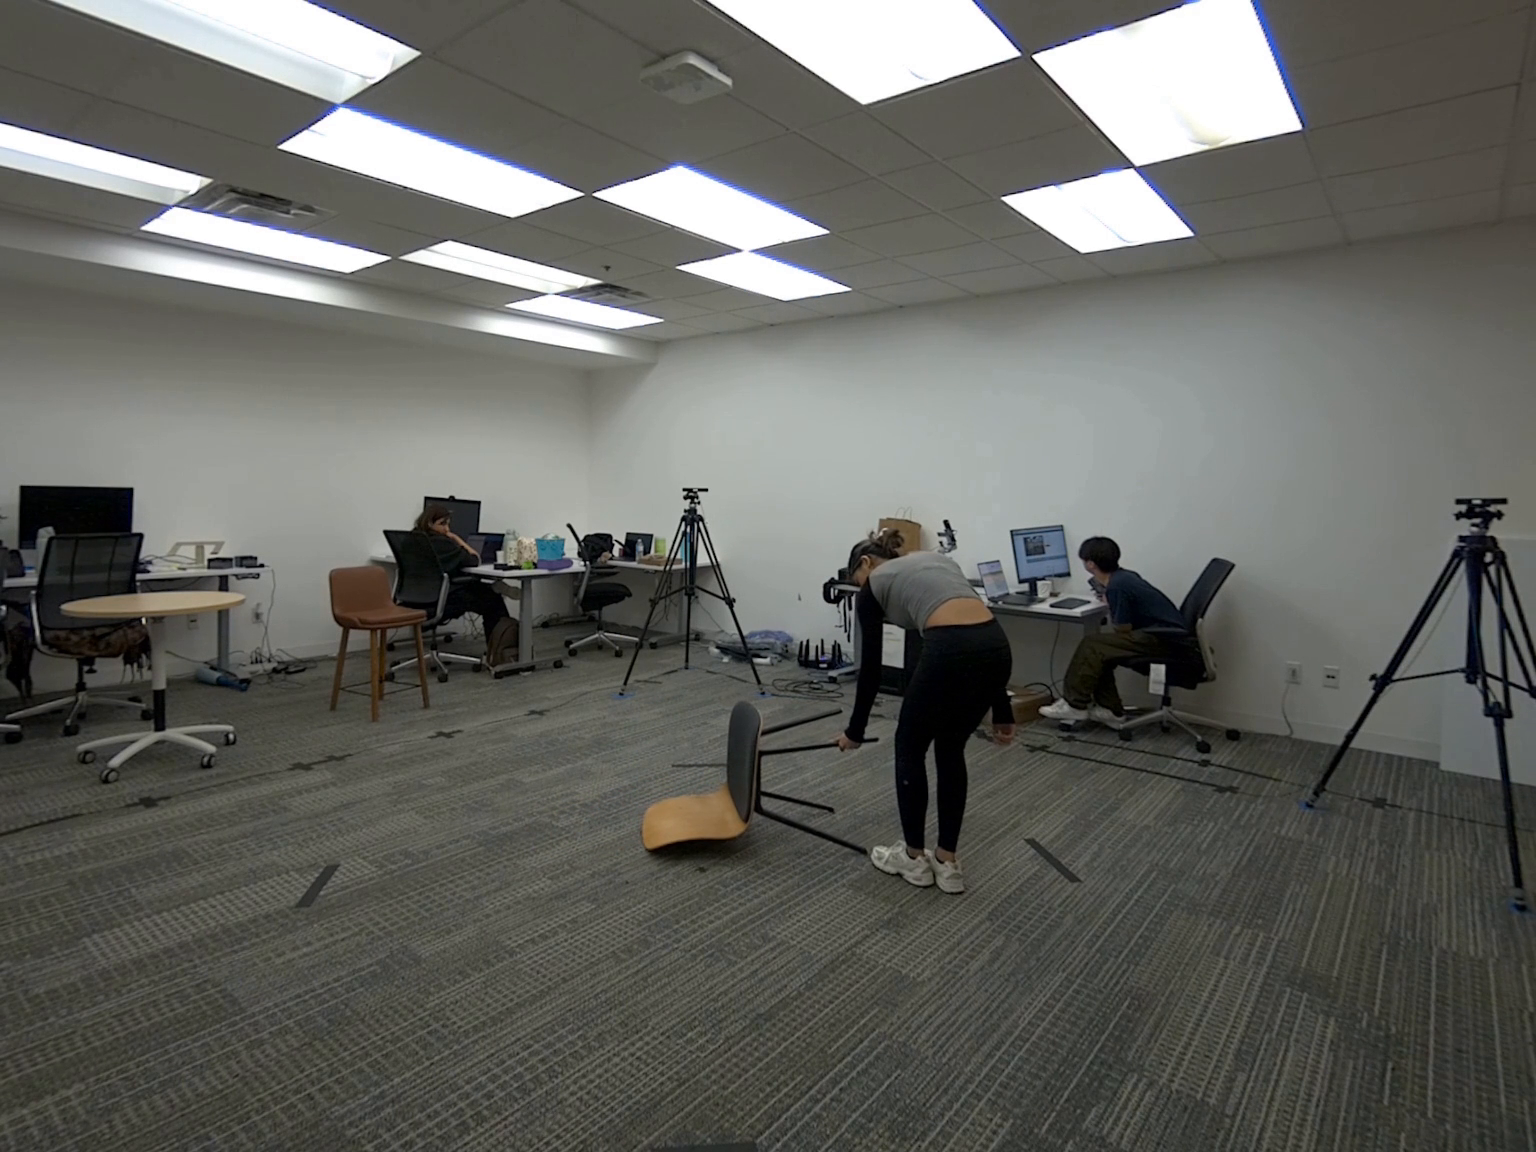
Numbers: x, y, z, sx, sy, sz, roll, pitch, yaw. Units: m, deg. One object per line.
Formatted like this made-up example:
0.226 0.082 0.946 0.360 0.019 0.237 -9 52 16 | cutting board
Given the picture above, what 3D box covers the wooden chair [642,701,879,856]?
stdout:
-0.074 0.782 3.404 0.868 0.522 0.485 -1 4 -10 | wooden chair
